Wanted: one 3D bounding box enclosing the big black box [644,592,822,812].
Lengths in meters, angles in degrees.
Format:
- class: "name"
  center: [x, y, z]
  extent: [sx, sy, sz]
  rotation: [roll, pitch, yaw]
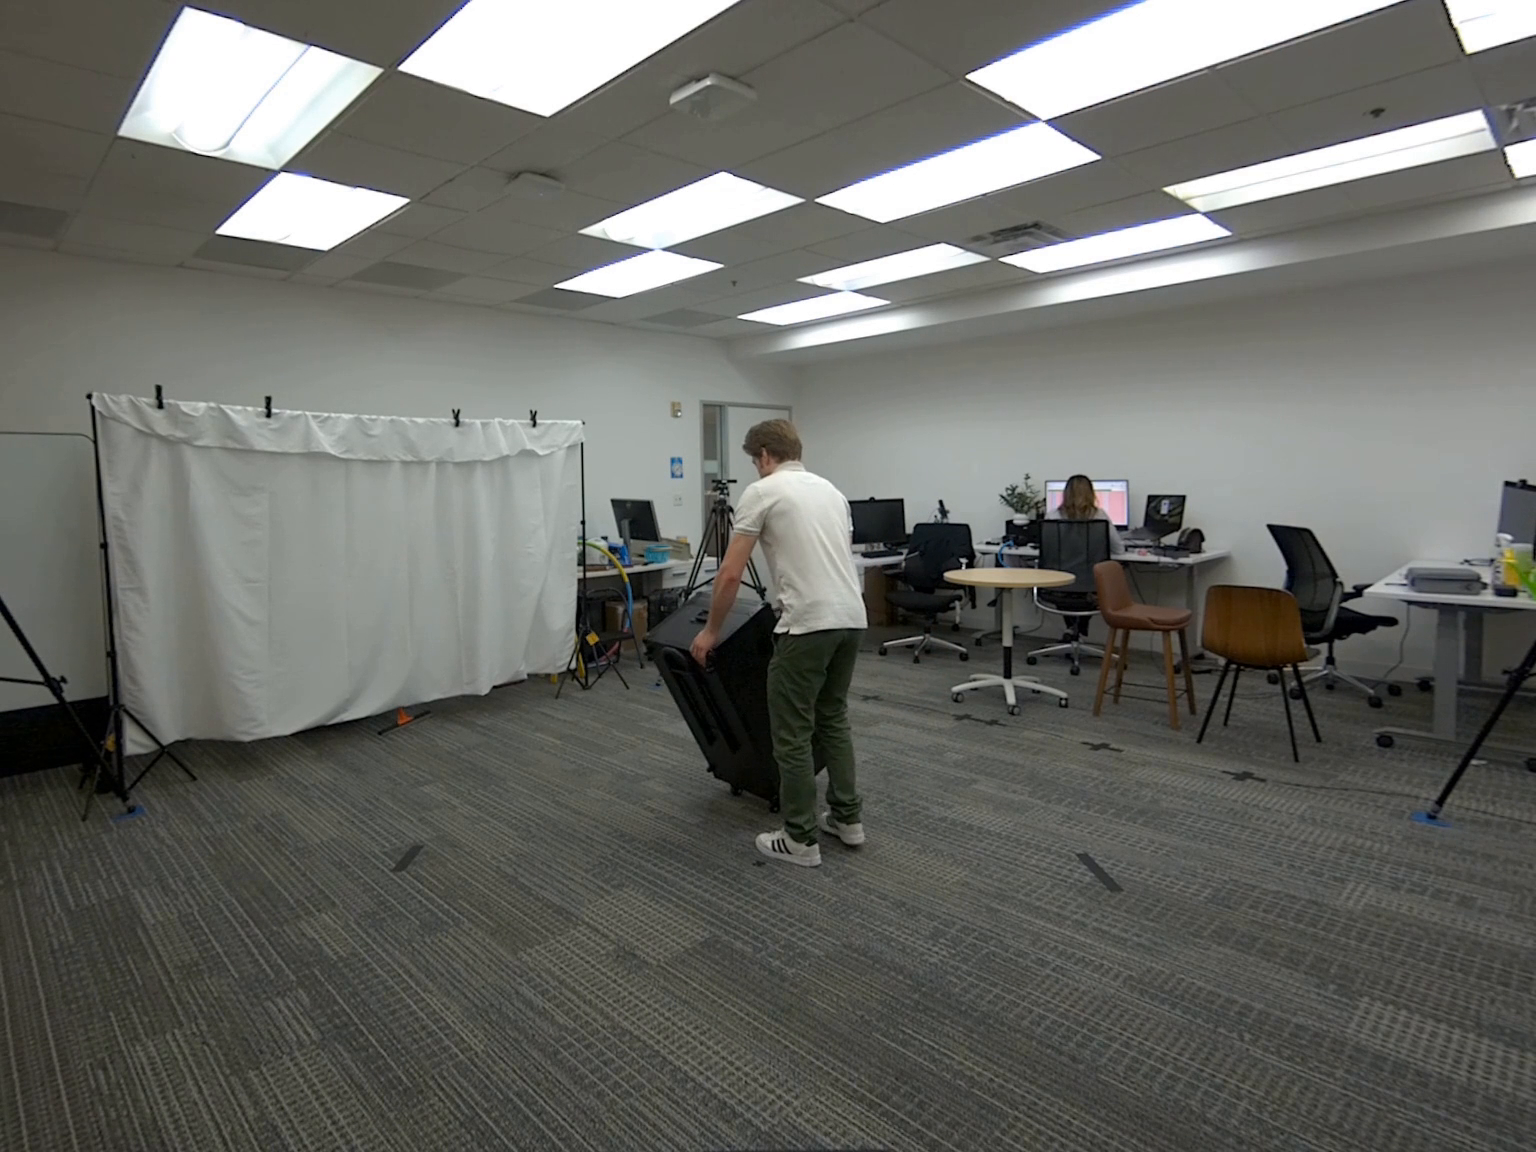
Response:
- class: "big black box"
  center: [-0.102, 0.540, 3.632]
  extent: [0.383, 0.849, 0.539]
  rotation: [-37, 24, -31]
